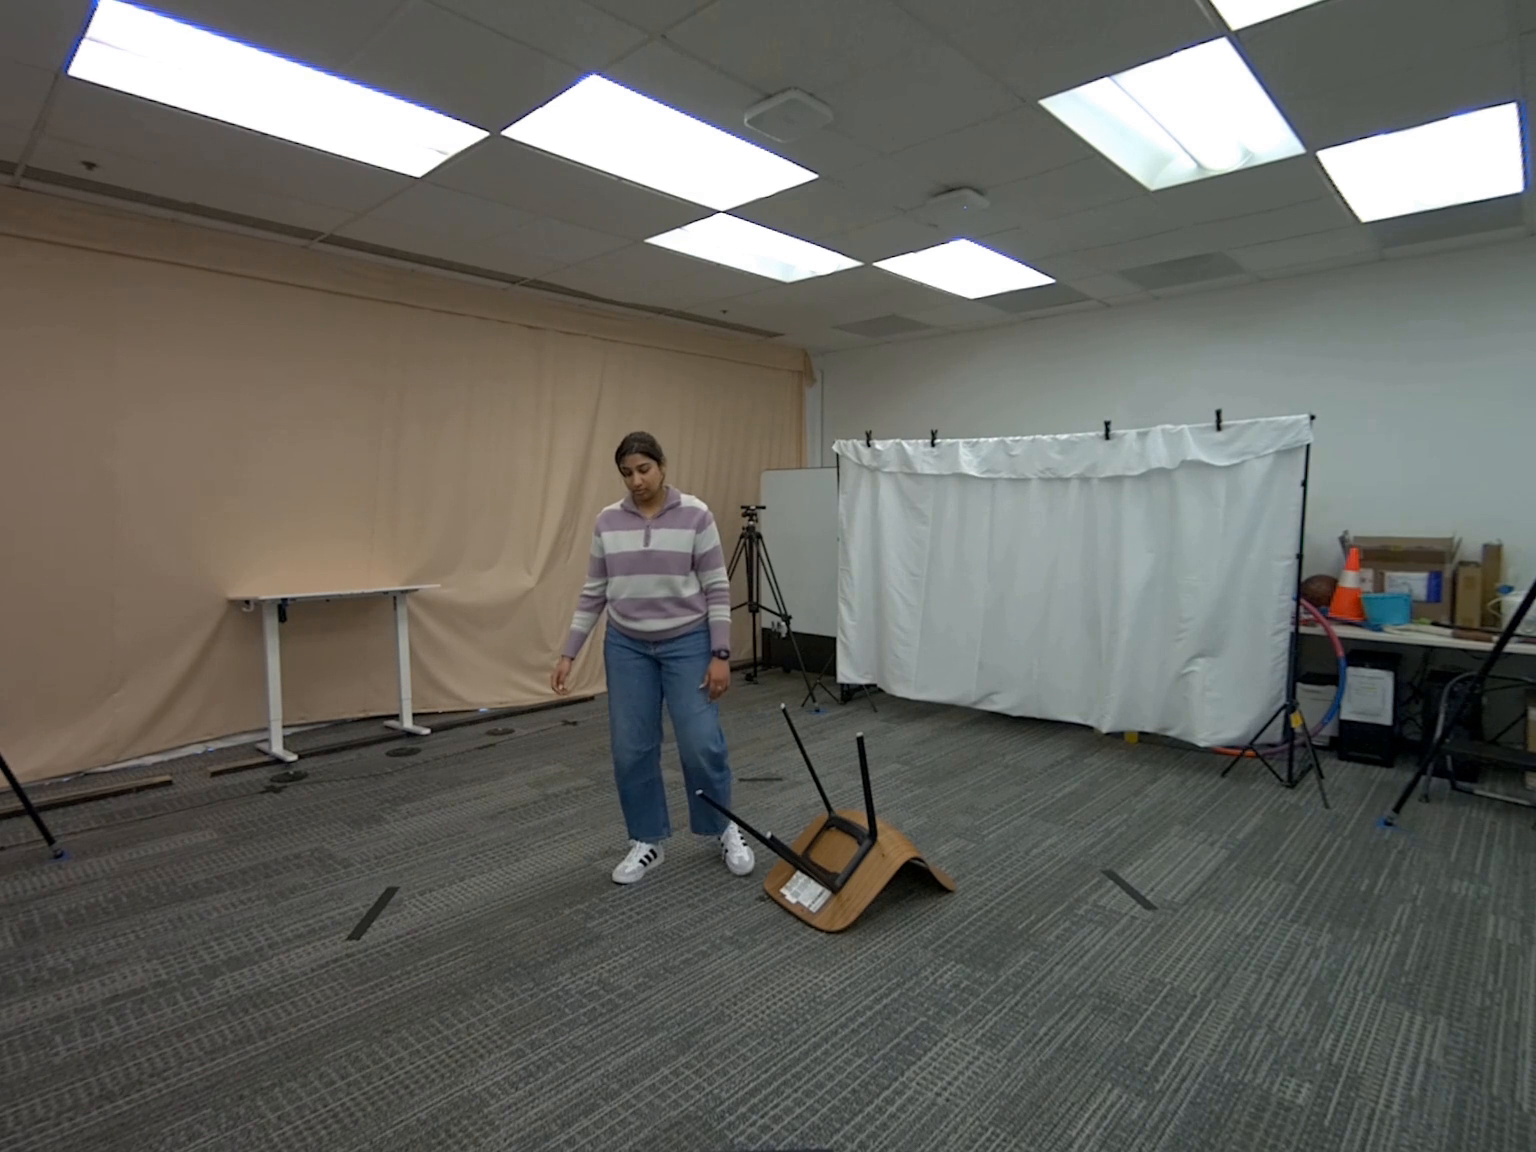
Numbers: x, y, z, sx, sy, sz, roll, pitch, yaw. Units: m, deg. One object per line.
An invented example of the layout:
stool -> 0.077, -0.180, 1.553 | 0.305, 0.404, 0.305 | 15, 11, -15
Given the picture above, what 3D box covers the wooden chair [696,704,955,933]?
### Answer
wooden chair -> 0.232, 0.973, 2.973 | 0.520, 0.856, 0.492 | -46, 25, -22
